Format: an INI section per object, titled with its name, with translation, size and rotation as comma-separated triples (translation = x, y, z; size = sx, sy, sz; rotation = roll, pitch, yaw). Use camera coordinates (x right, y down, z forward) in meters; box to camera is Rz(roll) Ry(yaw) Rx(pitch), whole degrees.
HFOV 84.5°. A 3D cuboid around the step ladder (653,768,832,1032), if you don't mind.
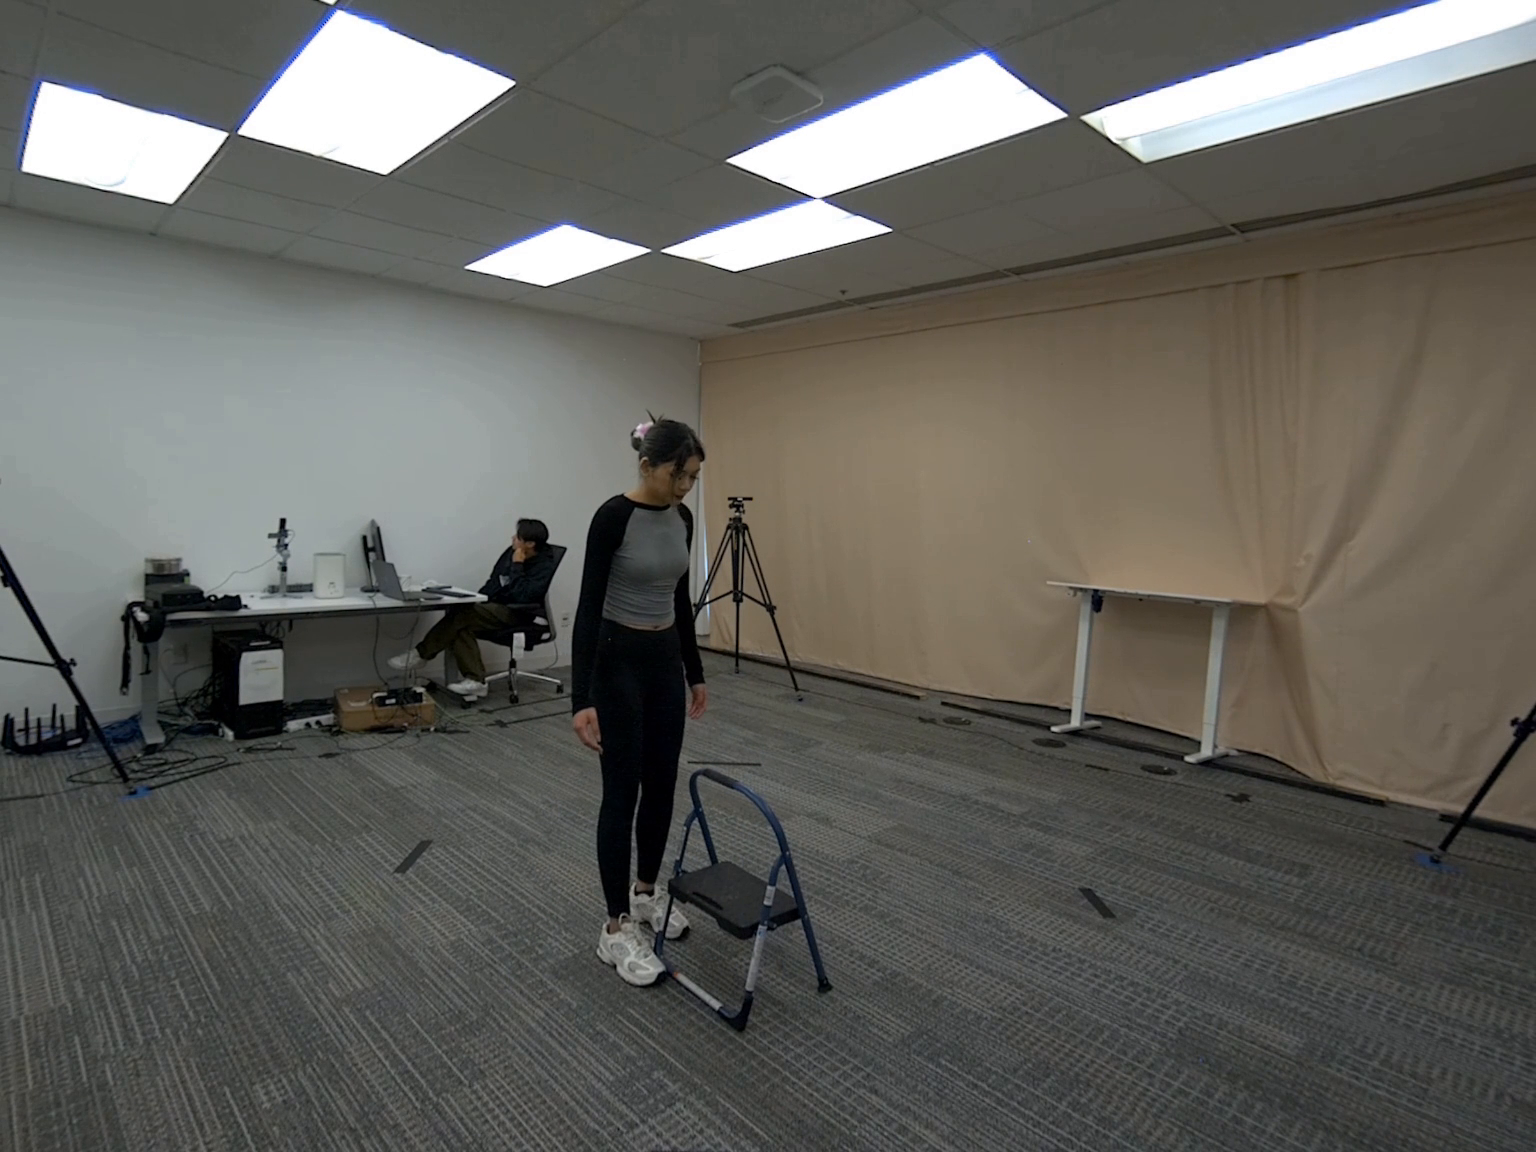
[step ladder]
translation = -0.080, 0.868, 2.437
size = 0.341, 0.604, 0.442
rotation = -1, 5, -42
